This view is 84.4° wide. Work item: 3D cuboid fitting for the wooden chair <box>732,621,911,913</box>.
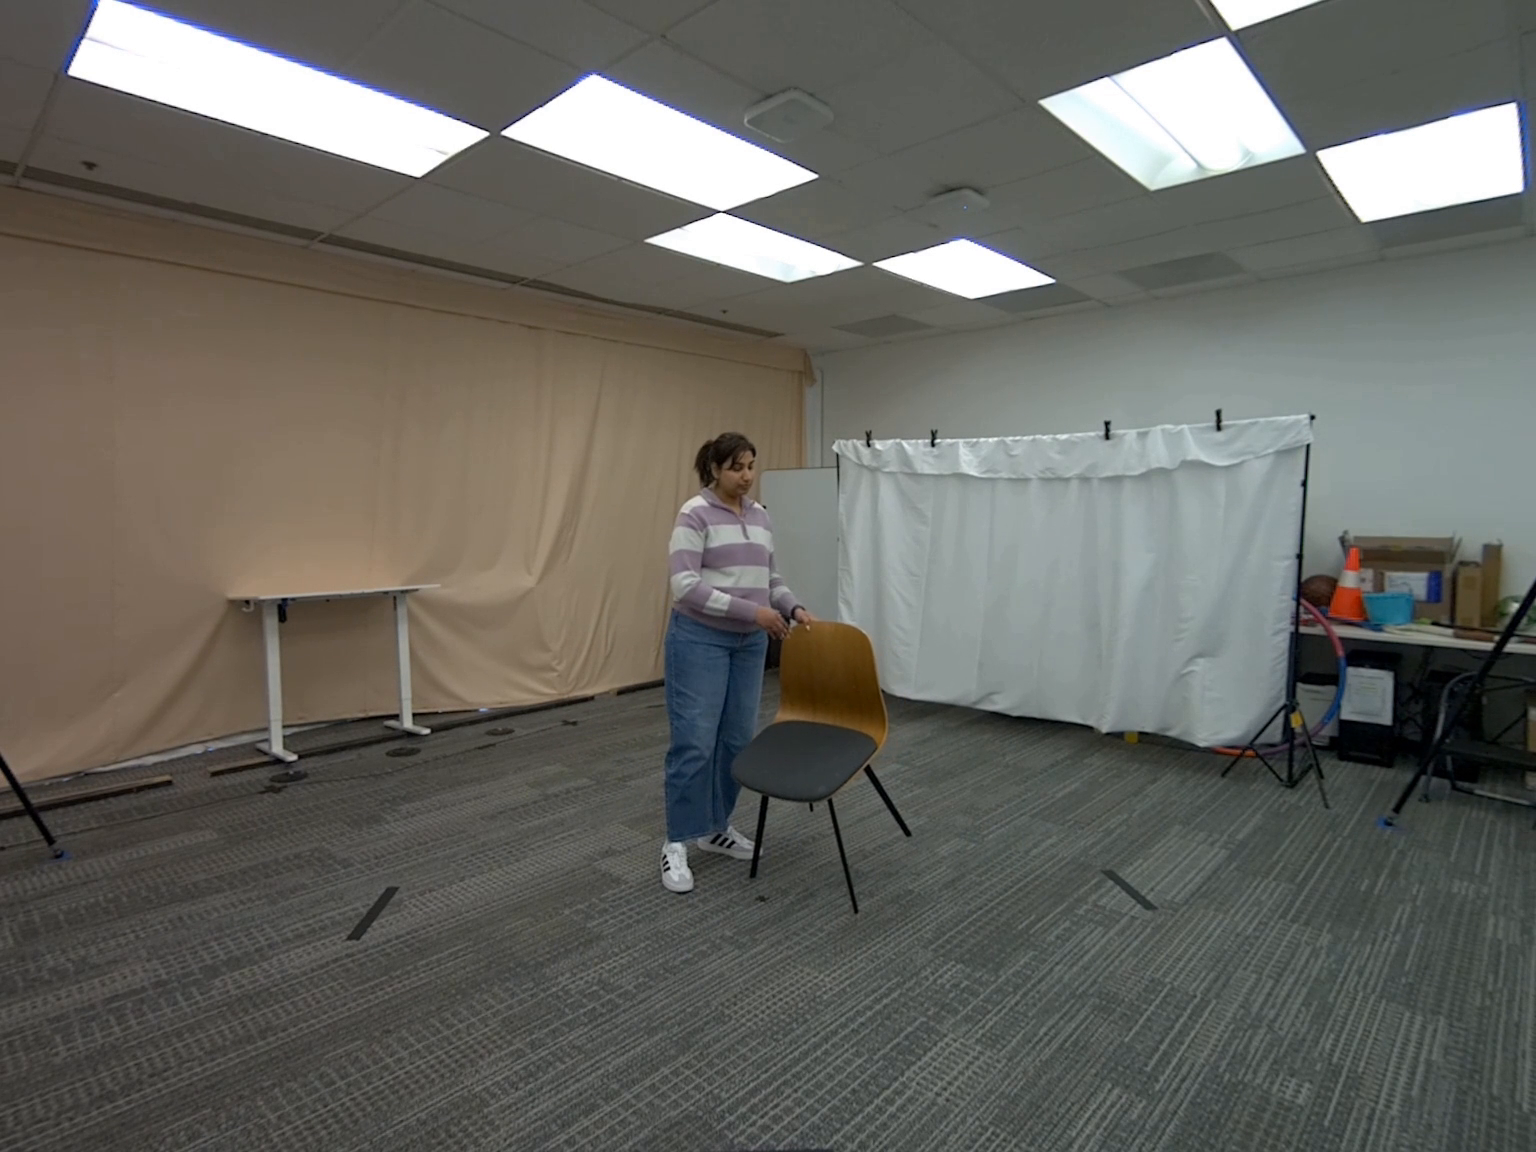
[{"bbox_3d":[0.169,0.668,3.035,0.493,0.868,0.512,3,18,35],"label":"wooden chair"}]
